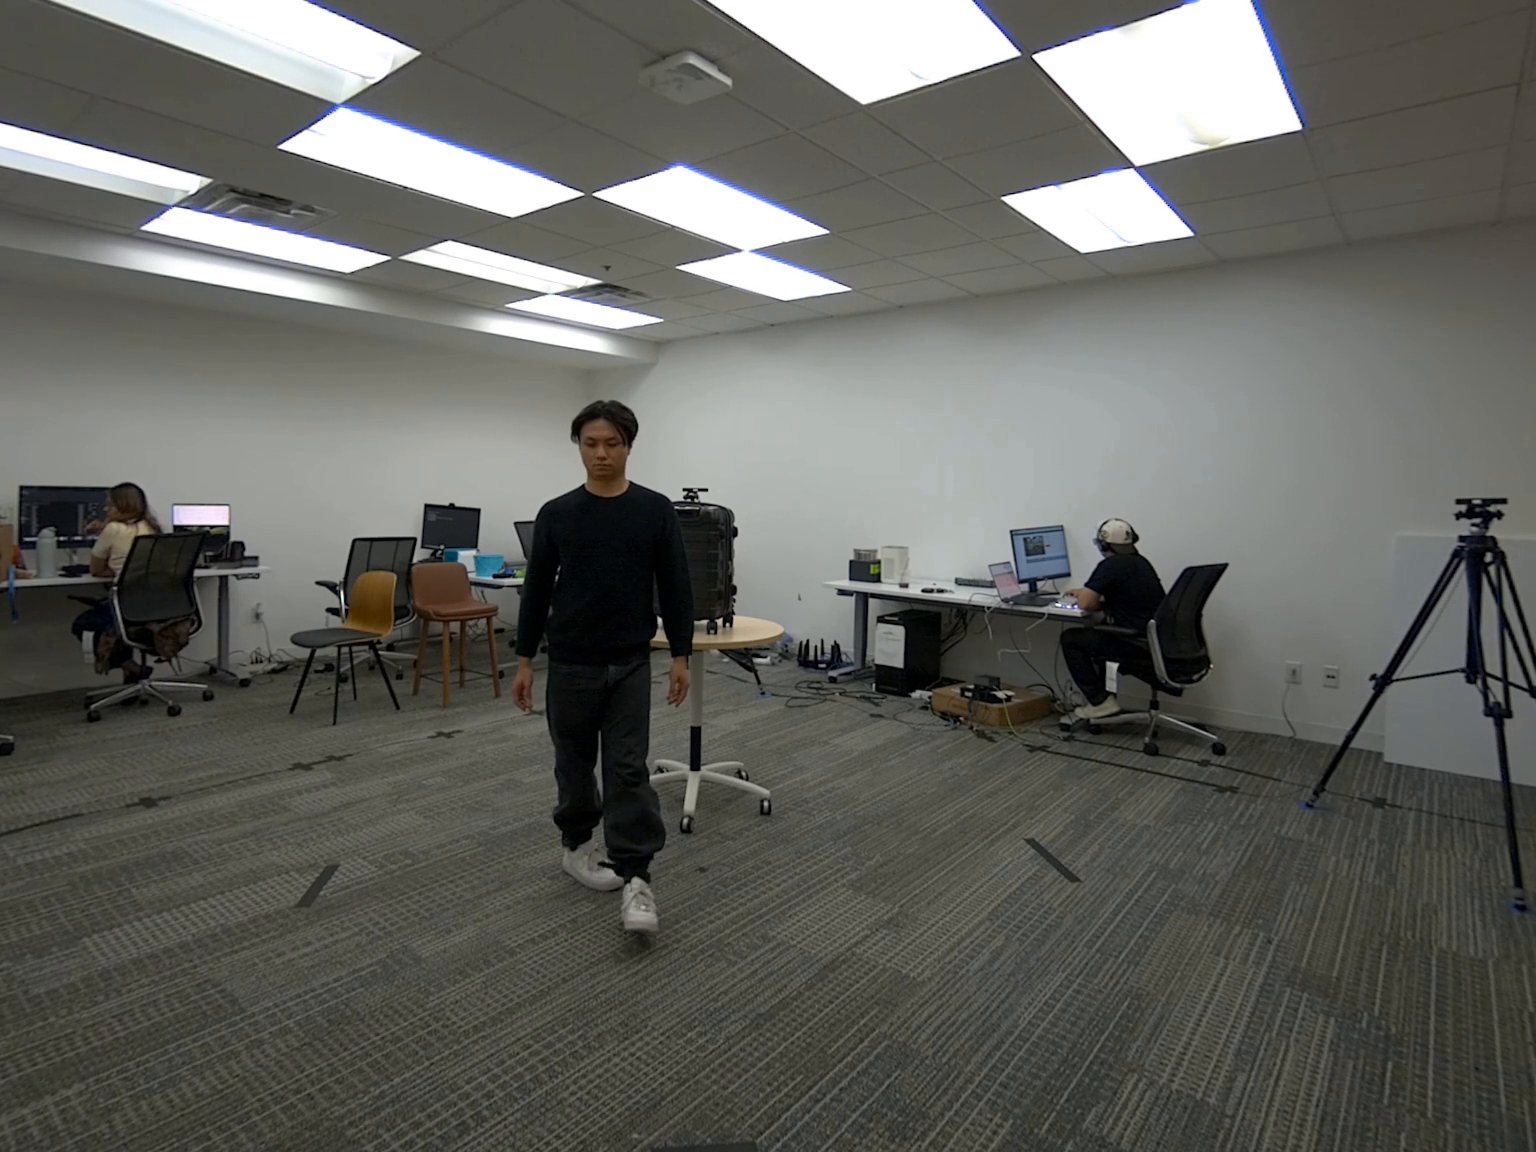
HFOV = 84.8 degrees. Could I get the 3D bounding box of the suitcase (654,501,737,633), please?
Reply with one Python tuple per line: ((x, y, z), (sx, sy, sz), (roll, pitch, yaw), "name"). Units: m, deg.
((-0.350, -0.053, 3.732), (0.383, 0.548, 0.243), (1, 2, 20), "suitcase")
